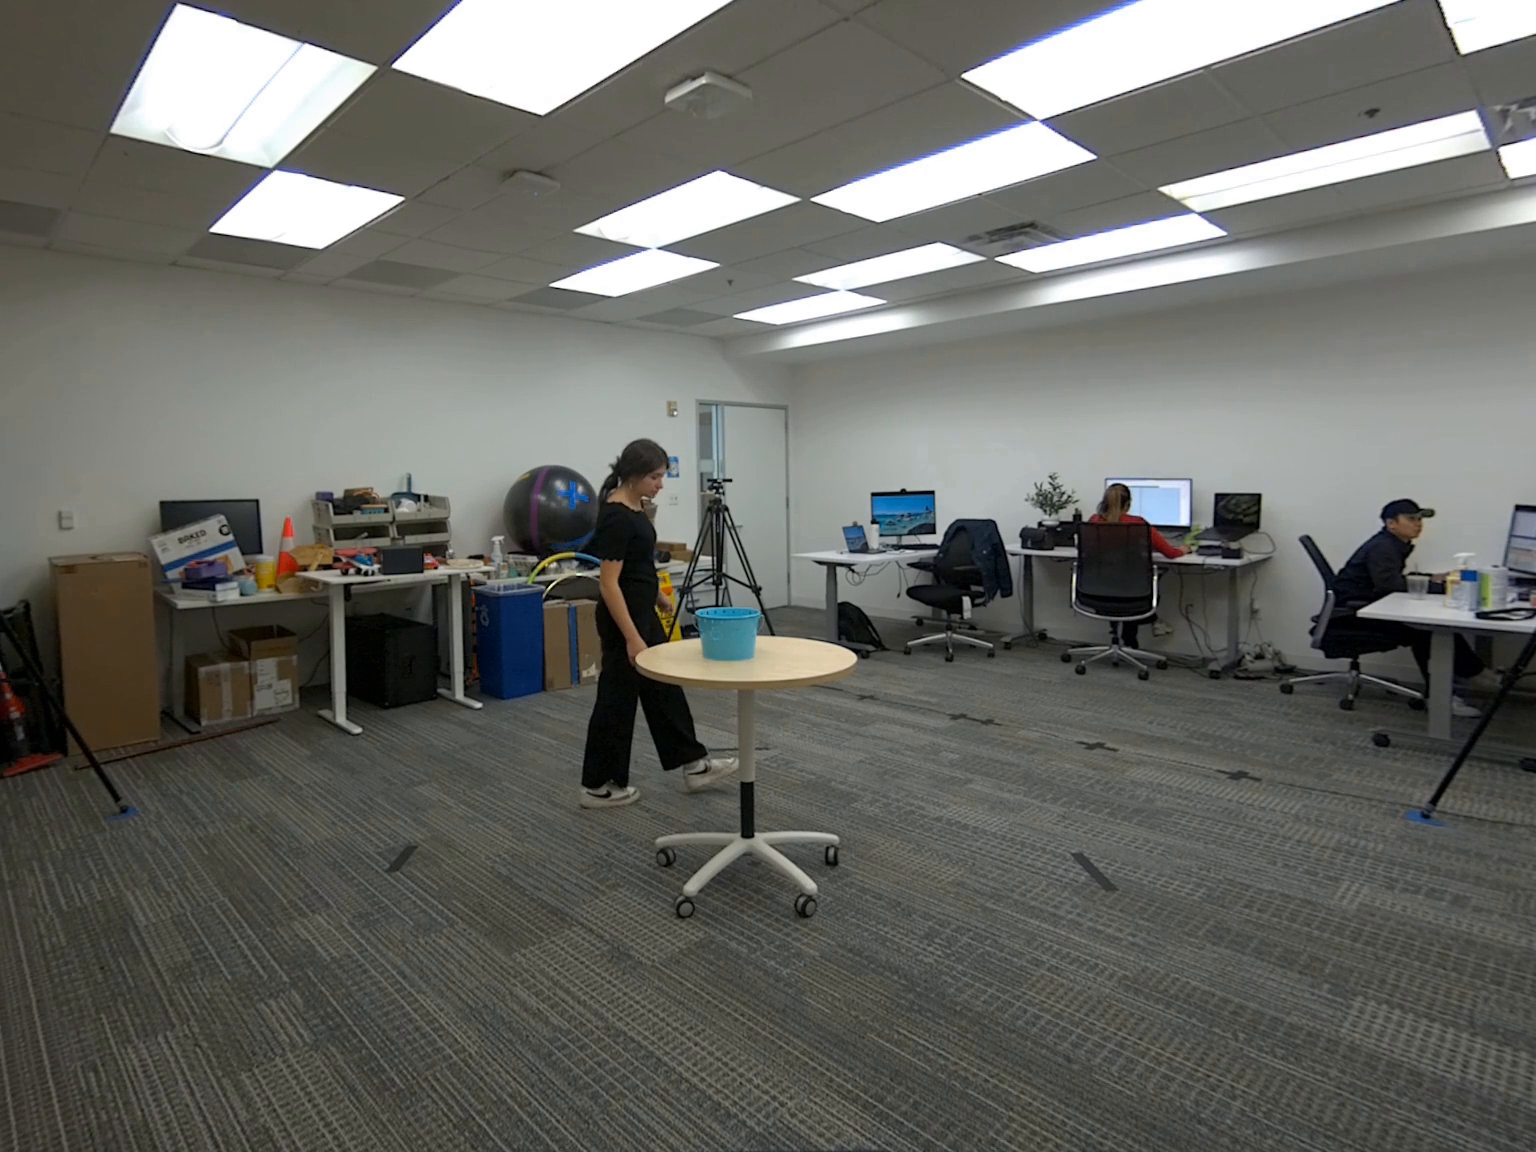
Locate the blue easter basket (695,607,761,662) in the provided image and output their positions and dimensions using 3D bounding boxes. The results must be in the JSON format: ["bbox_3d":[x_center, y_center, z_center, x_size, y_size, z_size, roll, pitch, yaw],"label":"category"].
[{"bbox_3d":[-0.133,0.204,2.975,0.243,0.155,0.245,-1,5,-2],"label":"blue easter basket"}]
